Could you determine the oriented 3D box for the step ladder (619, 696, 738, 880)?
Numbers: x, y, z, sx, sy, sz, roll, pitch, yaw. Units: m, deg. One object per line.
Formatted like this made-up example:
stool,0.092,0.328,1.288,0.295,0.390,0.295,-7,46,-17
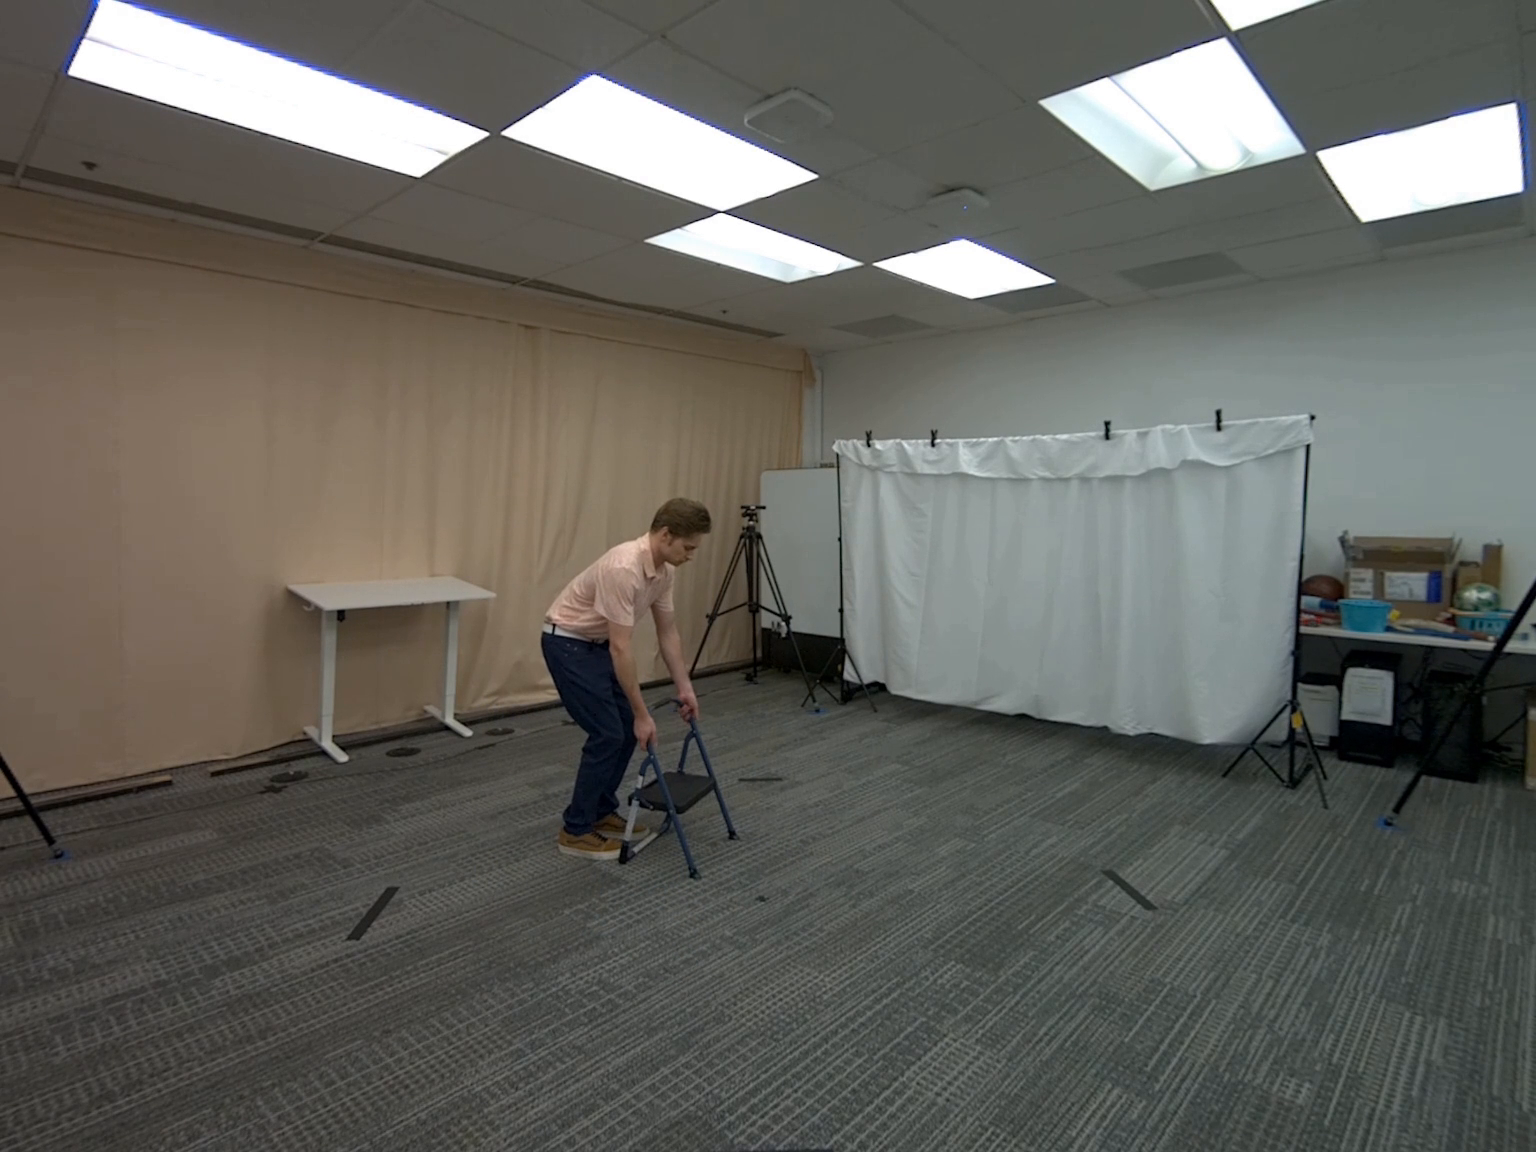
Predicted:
step ladder,-0.355,0.813,3.387,0.357,0.605,0.421,1,3,21
